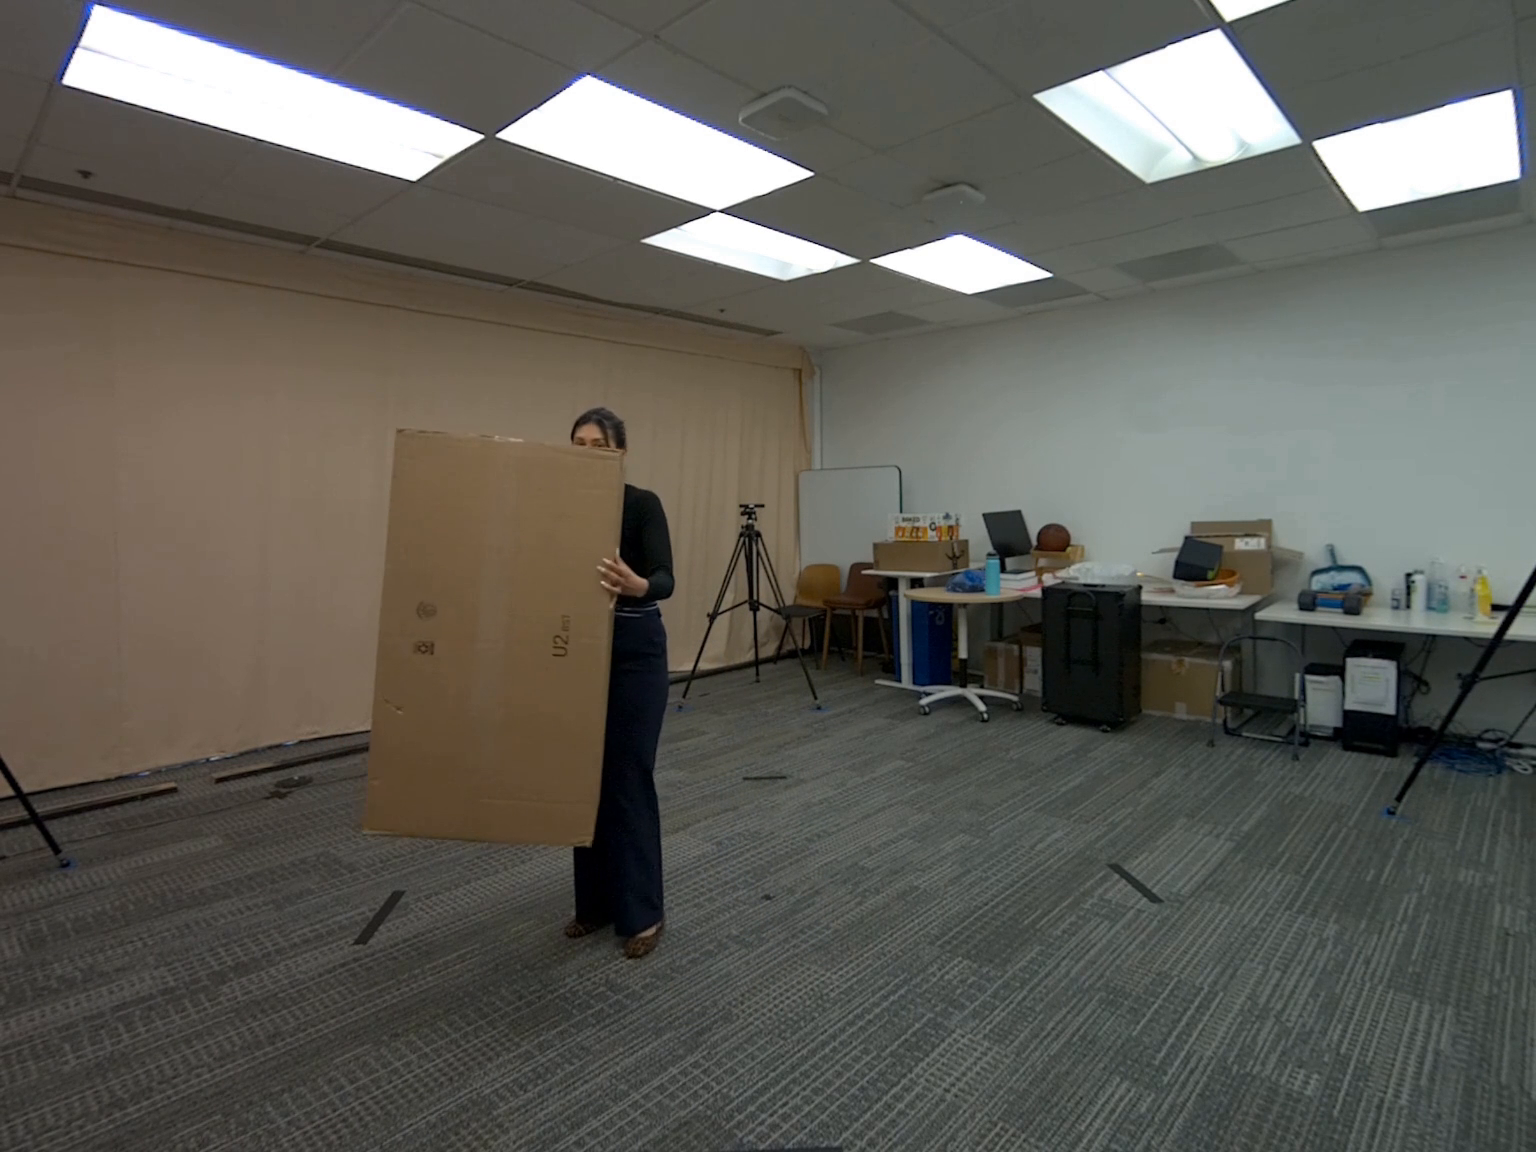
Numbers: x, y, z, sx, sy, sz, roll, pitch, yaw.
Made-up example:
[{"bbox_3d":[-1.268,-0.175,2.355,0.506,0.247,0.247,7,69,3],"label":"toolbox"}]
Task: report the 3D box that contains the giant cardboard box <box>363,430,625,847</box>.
[{"bbox_3d":[-0.730,0.159,2.338,0.574,1.026,0.428,5,-1,-6],"label":"giant cardboard box"}]
